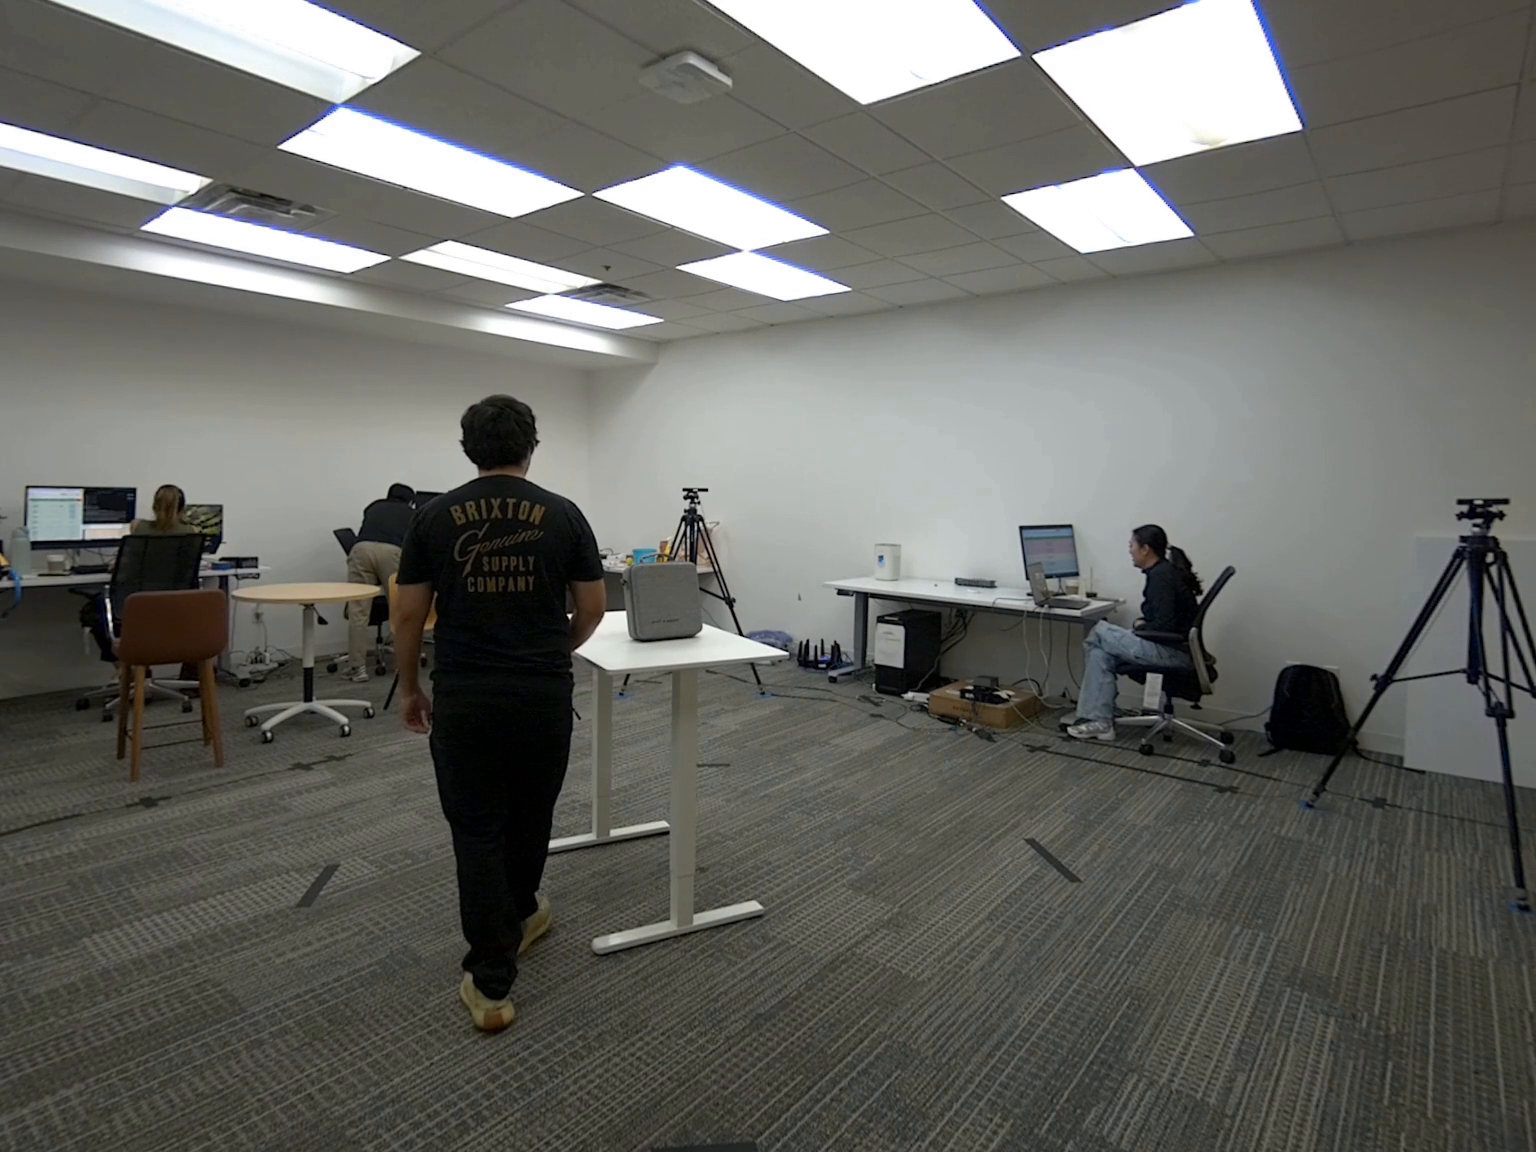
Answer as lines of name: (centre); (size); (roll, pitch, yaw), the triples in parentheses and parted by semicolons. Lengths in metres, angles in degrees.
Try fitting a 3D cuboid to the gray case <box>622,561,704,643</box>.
gray case: (-0.367, 0.076, 2.883); (0.250, 0.263, 0.106); (-3, -8, -31)
